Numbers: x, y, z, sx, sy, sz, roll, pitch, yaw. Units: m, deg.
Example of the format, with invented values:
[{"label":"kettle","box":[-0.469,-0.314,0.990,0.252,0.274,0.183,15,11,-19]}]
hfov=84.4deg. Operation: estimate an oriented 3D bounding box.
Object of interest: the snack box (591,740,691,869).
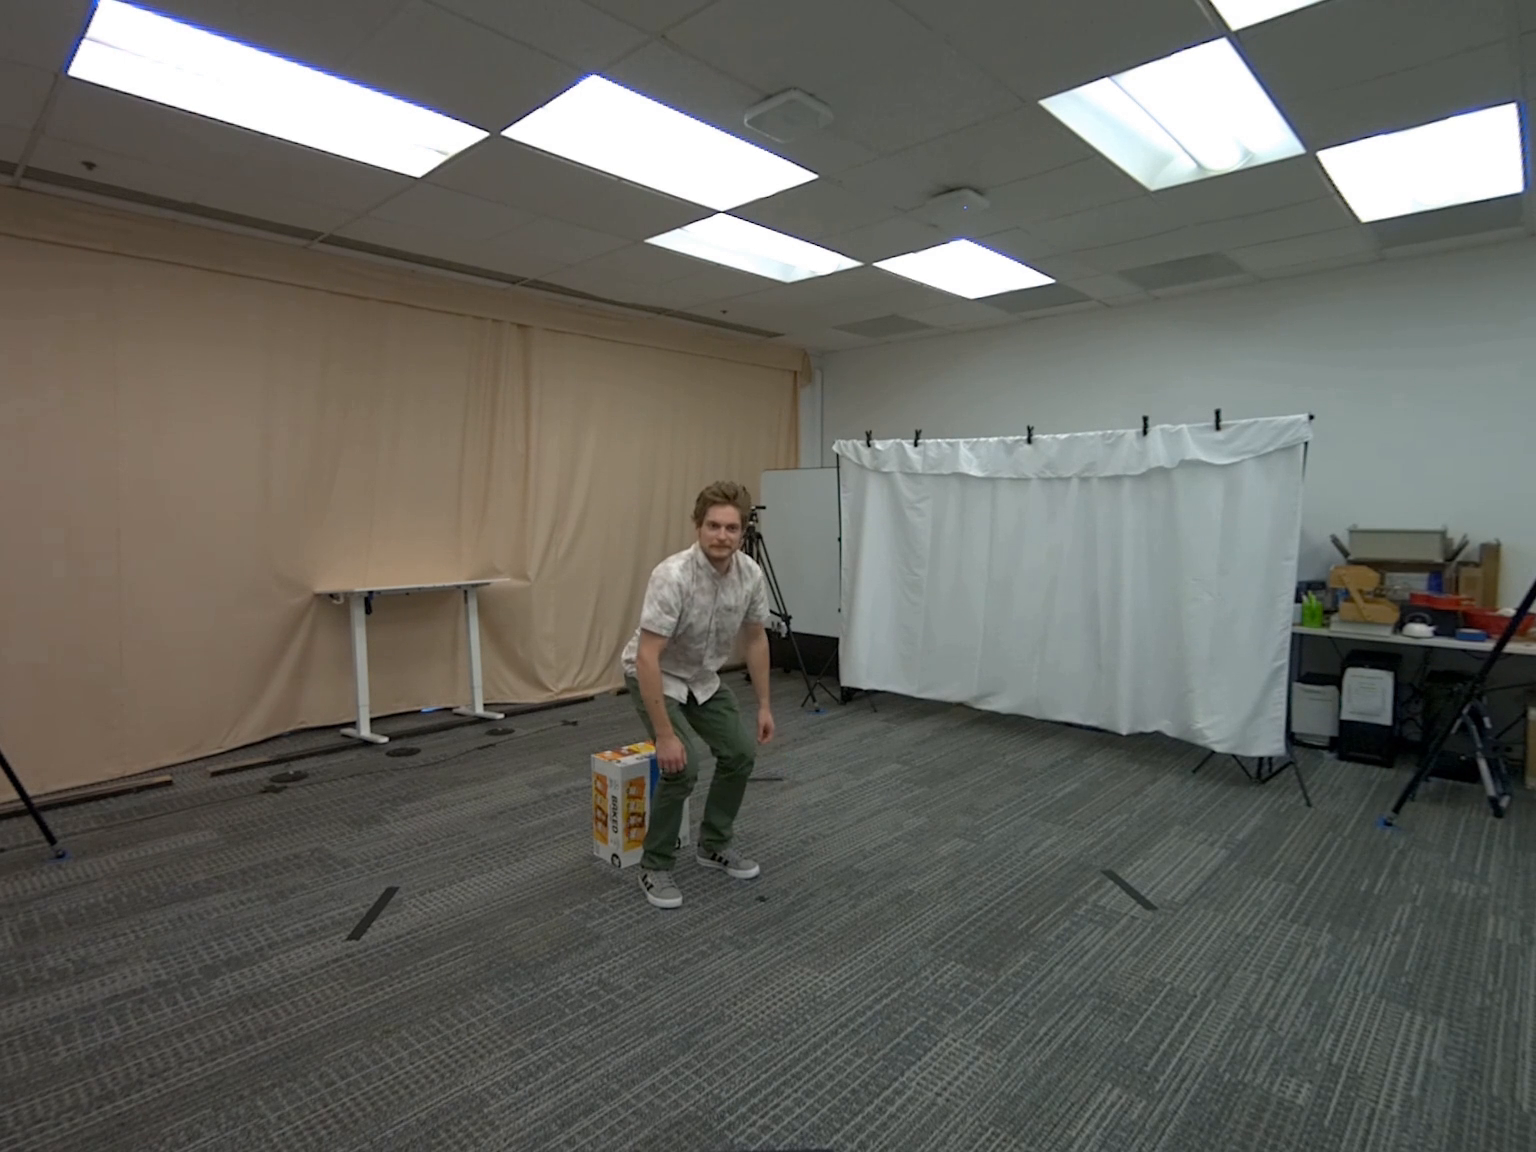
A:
[{"label":"snack box","box":[-0.518,0.912,3.412,0.330,0.404,0.212,-4,5,-44]}]
